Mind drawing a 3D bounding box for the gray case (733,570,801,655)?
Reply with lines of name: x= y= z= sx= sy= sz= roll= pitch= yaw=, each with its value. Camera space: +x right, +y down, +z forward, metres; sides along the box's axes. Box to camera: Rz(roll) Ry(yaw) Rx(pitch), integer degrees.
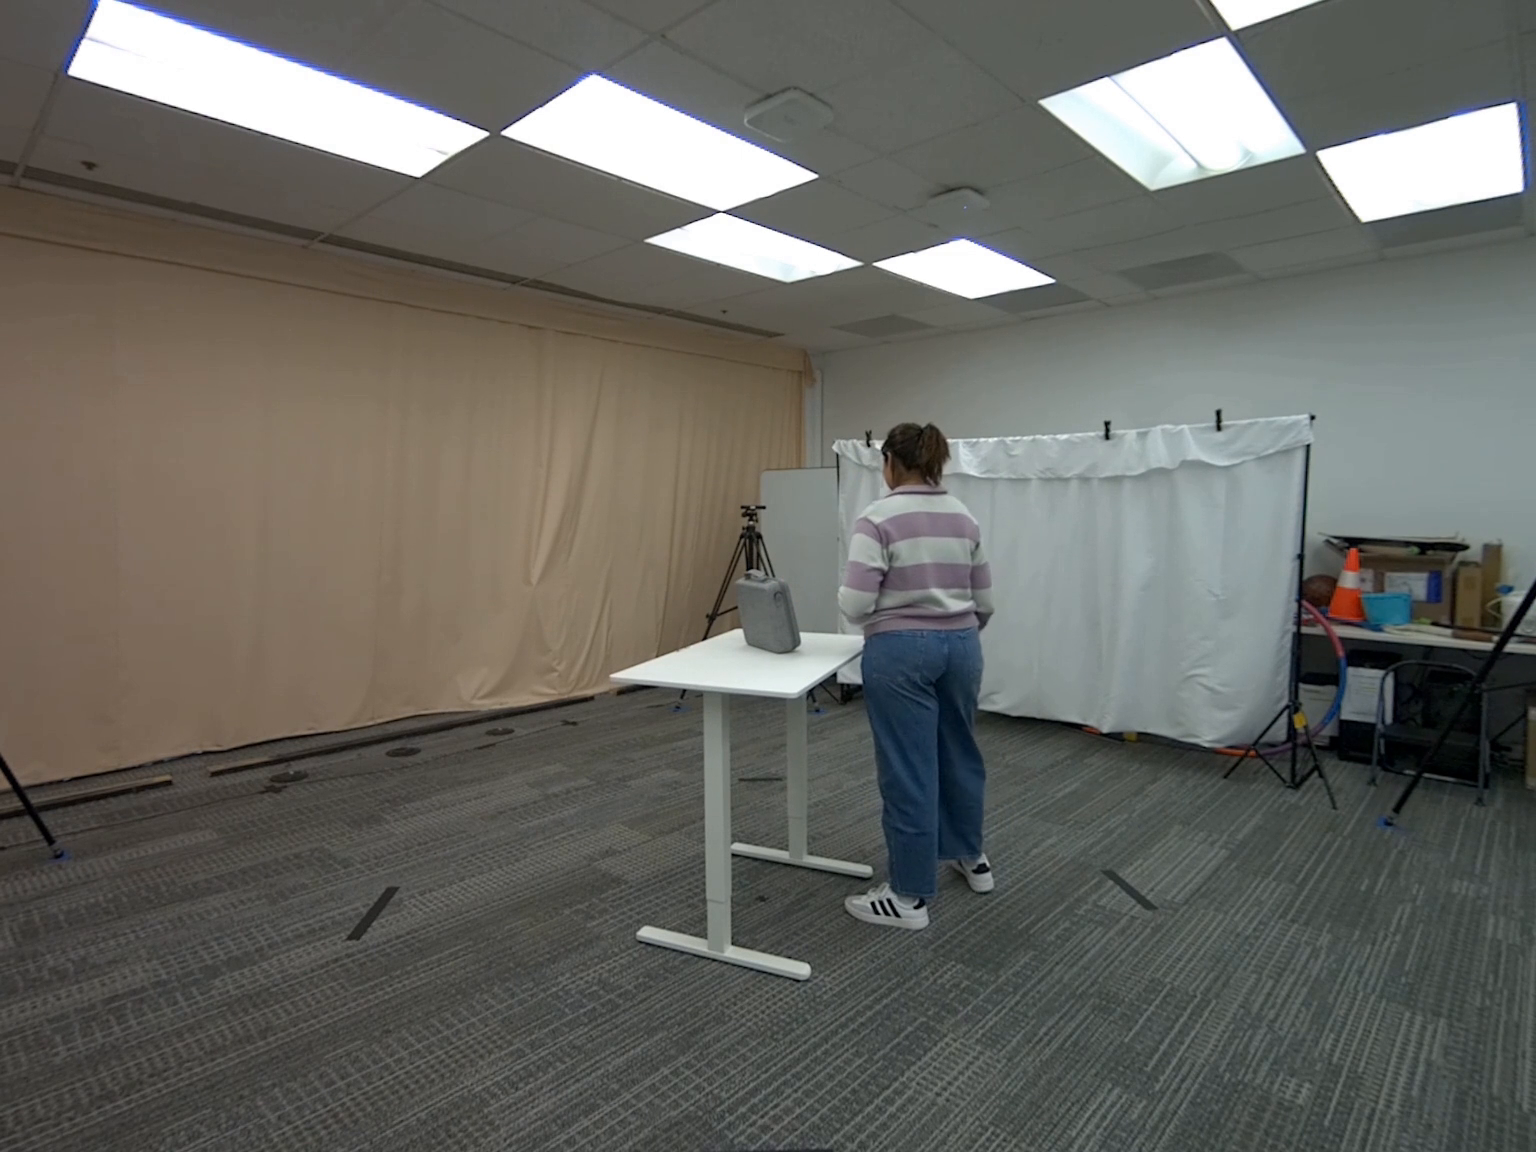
gray case: x=0.000 y=0.131 z=2.982 sx=0.102 sy=0.259 sz=0.264 roll=-16 pitch=10 yaw=-26
